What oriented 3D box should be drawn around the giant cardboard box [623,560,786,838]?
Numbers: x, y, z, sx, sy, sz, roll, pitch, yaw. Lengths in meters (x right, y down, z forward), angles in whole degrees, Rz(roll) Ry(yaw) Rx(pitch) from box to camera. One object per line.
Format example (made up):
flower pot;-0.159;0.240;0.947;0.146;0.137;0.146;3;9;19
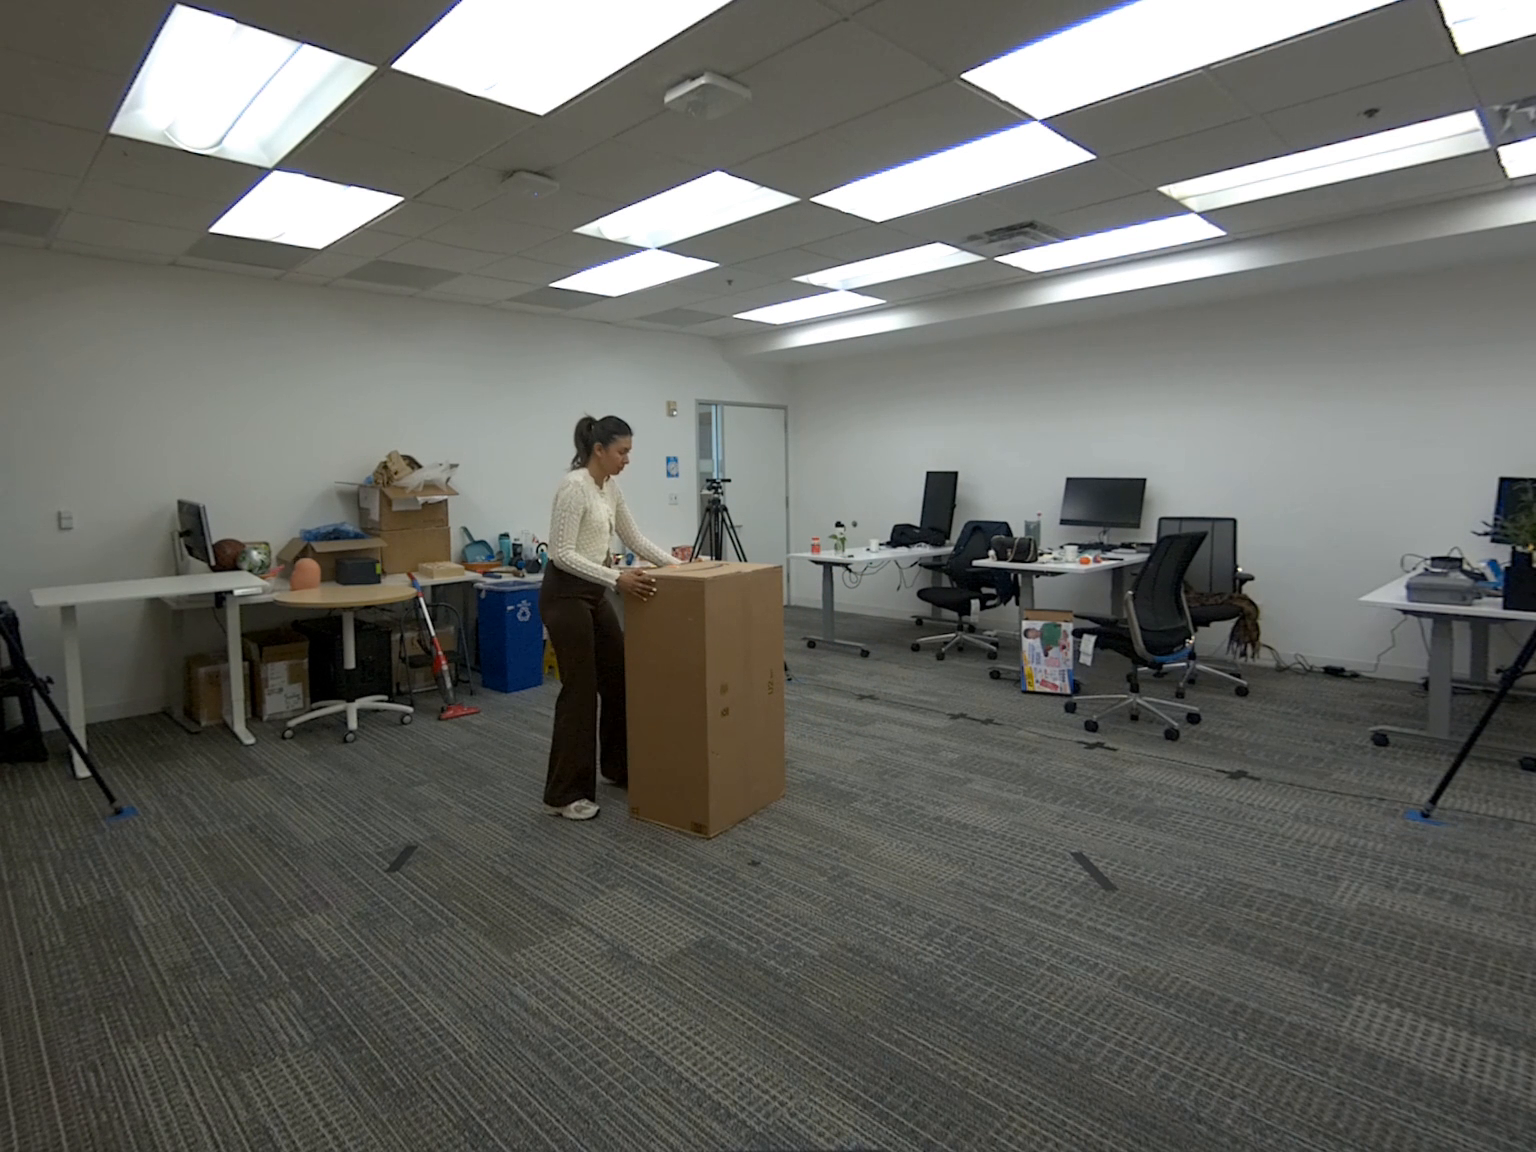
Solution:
giant cardboard box;-0.256;0.480;3.628;0.438;1.022;0.563;2;5;34
